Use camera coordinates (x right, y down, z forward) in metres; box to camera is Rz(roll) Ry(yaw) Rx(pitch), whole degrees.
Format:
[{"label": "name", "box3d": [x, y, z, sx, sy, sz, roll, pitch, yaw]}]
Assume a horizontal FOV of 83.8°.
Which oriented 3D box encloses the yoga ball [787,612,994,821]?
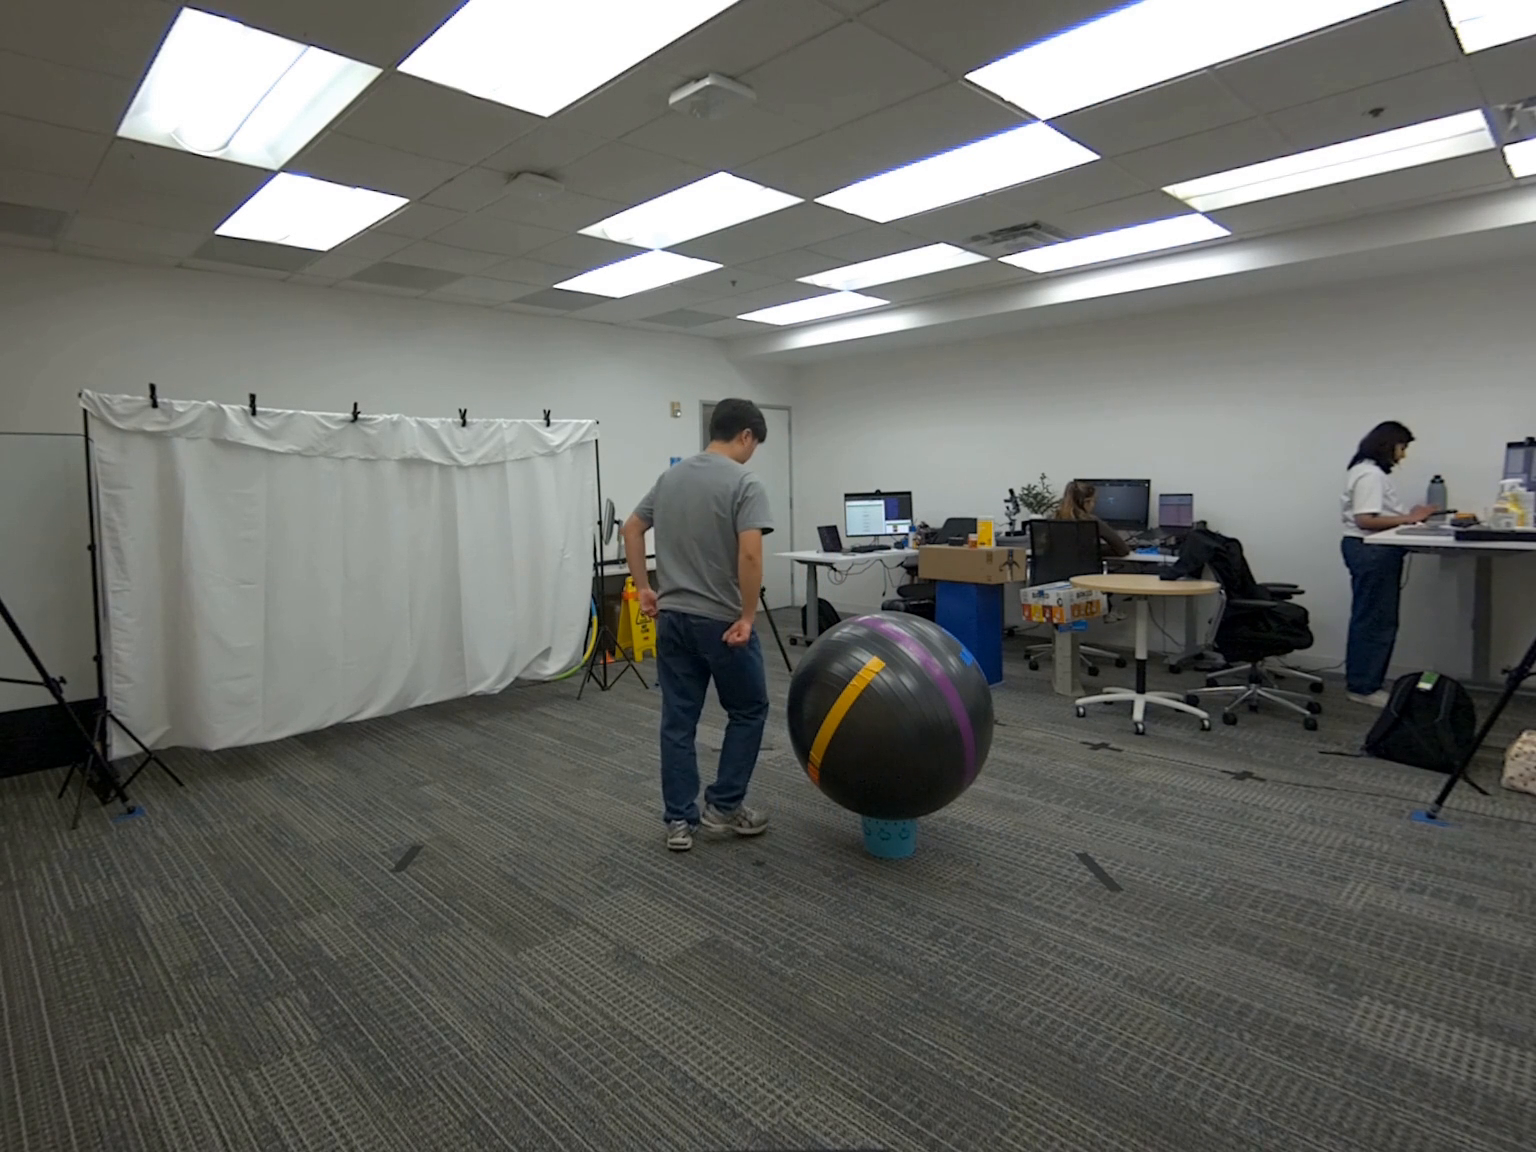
[{"label": "yoga ball", "box3d": [0.449, 0.517, 3.186, 0.757, 0.755, 0.762, -1, 5, -2]}]
